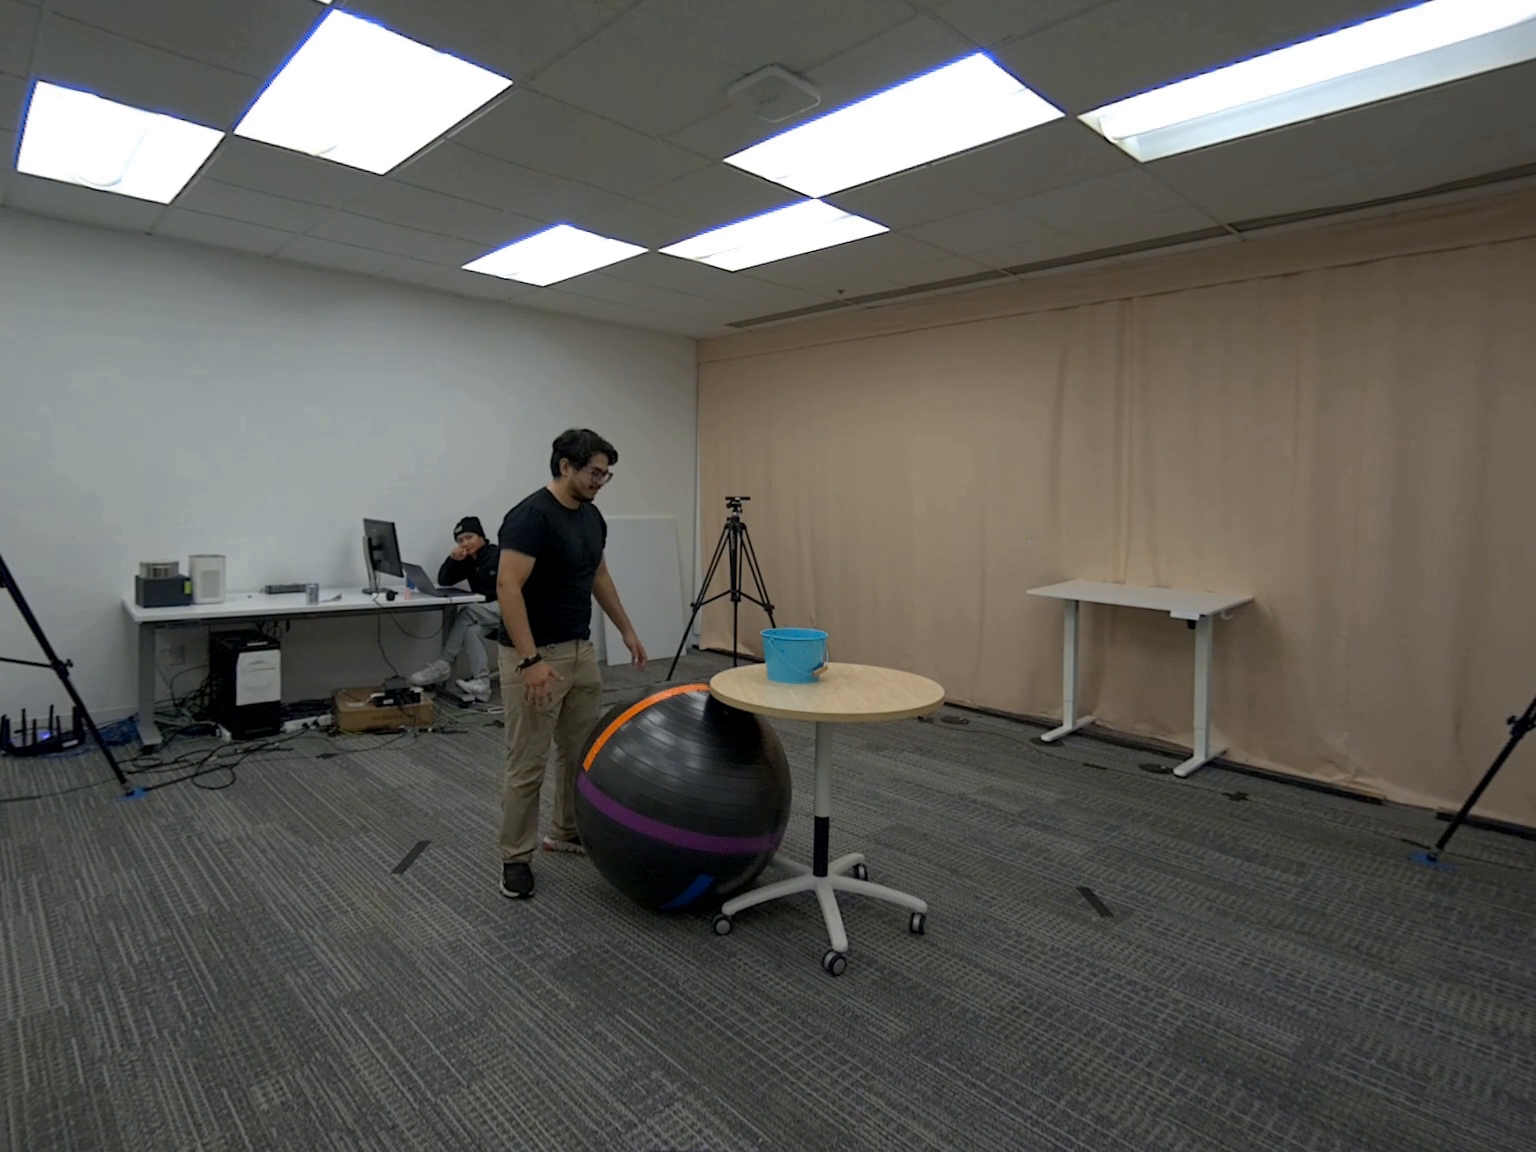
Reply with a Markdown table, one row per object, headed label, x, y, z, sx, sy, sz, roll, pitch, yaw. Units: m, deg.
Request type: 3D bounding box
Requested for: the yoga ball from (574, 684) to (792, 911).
| label | x | y | z | sx | sy | sz | roll | pitch | yaw |
| --- | --- | --- | --- | --- | --- | --- | --- | --- | --- |
| yoga ball | -0.300 | 0.759 | 2.929 | 0.757 | 0.756 | 0.761 | 1 | 4 | -1 |
